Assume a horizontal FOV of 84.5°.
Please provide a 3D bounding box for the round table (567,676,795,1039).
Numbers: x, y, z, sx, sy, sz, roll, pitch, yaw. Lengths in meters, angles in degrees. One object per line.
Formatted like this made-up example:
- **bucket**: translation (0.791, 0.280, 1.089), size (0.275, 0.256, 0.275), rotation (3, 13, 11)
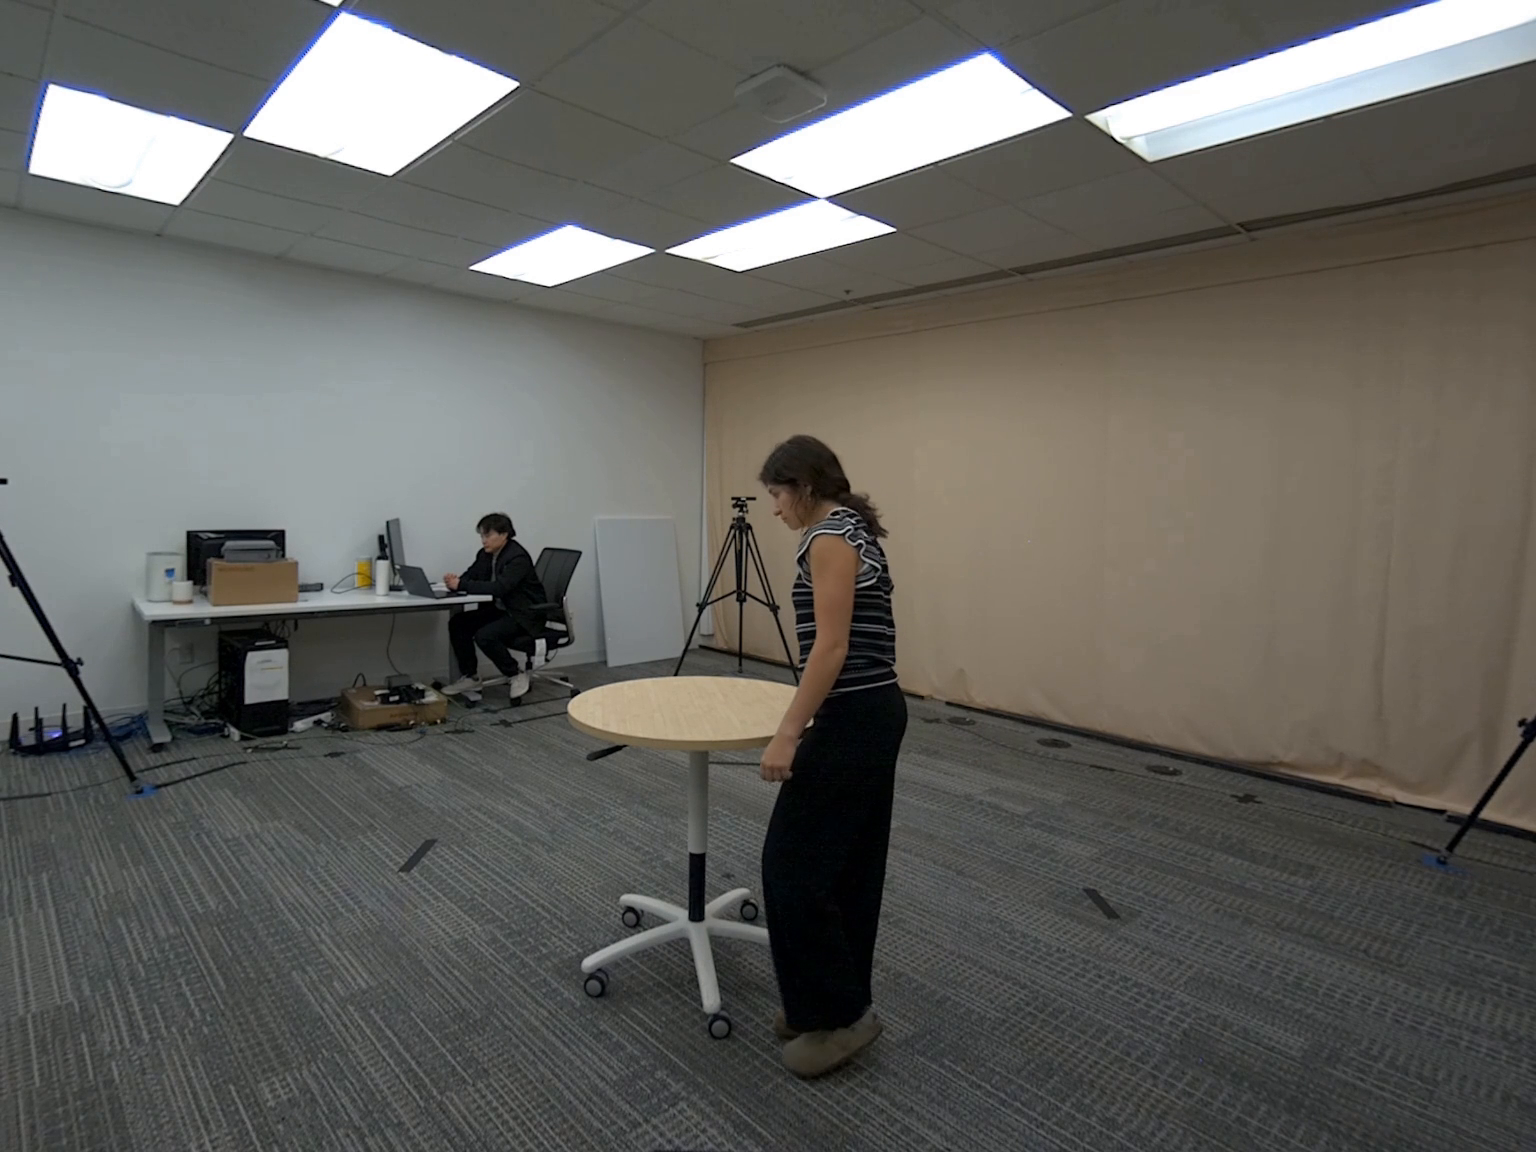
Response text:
- **round table**: translation (-0.206, 0.771, 2.492), size (0.763, 0.792, 0.766), rotation (1, 4, -1)
